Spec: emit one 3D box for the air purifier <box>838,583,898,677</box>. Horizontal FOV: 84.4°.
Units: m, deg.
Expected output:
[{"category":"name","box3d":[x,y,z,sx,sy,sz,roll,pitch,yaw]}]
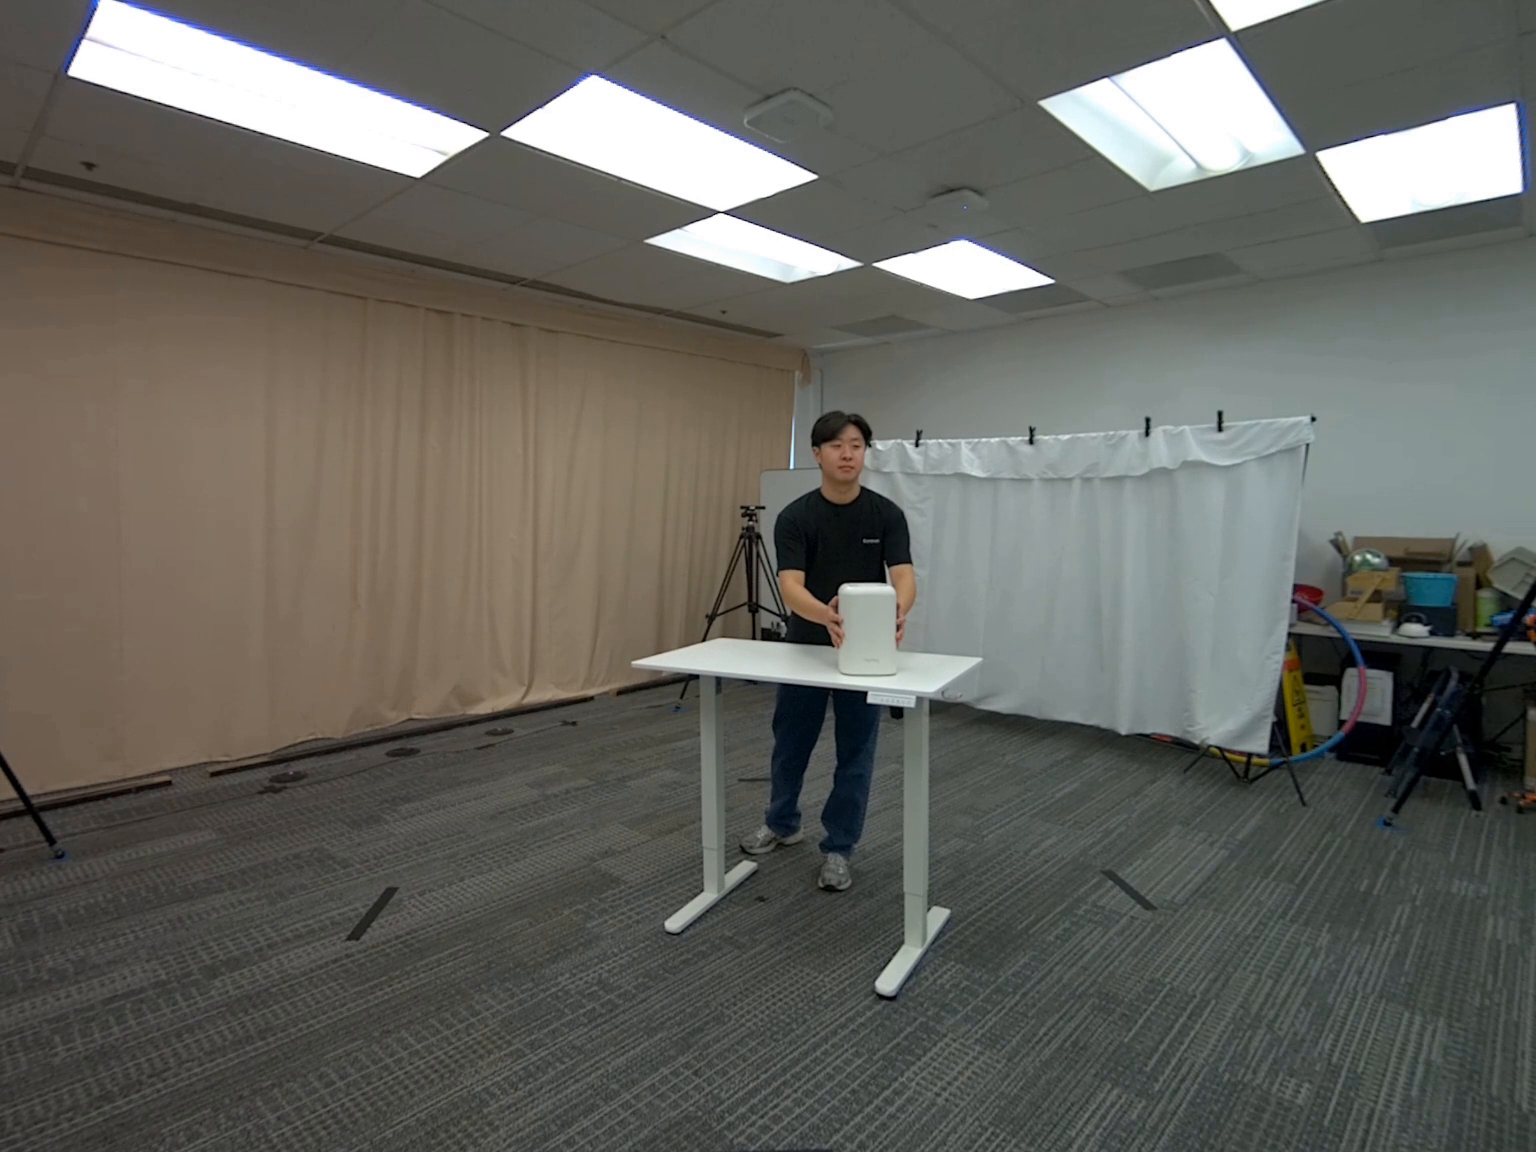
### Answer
[{"category":"air purifier","box3d":[0.299,0.159,2.571,0.171,0.265,0.171,-1,2,1]}]
